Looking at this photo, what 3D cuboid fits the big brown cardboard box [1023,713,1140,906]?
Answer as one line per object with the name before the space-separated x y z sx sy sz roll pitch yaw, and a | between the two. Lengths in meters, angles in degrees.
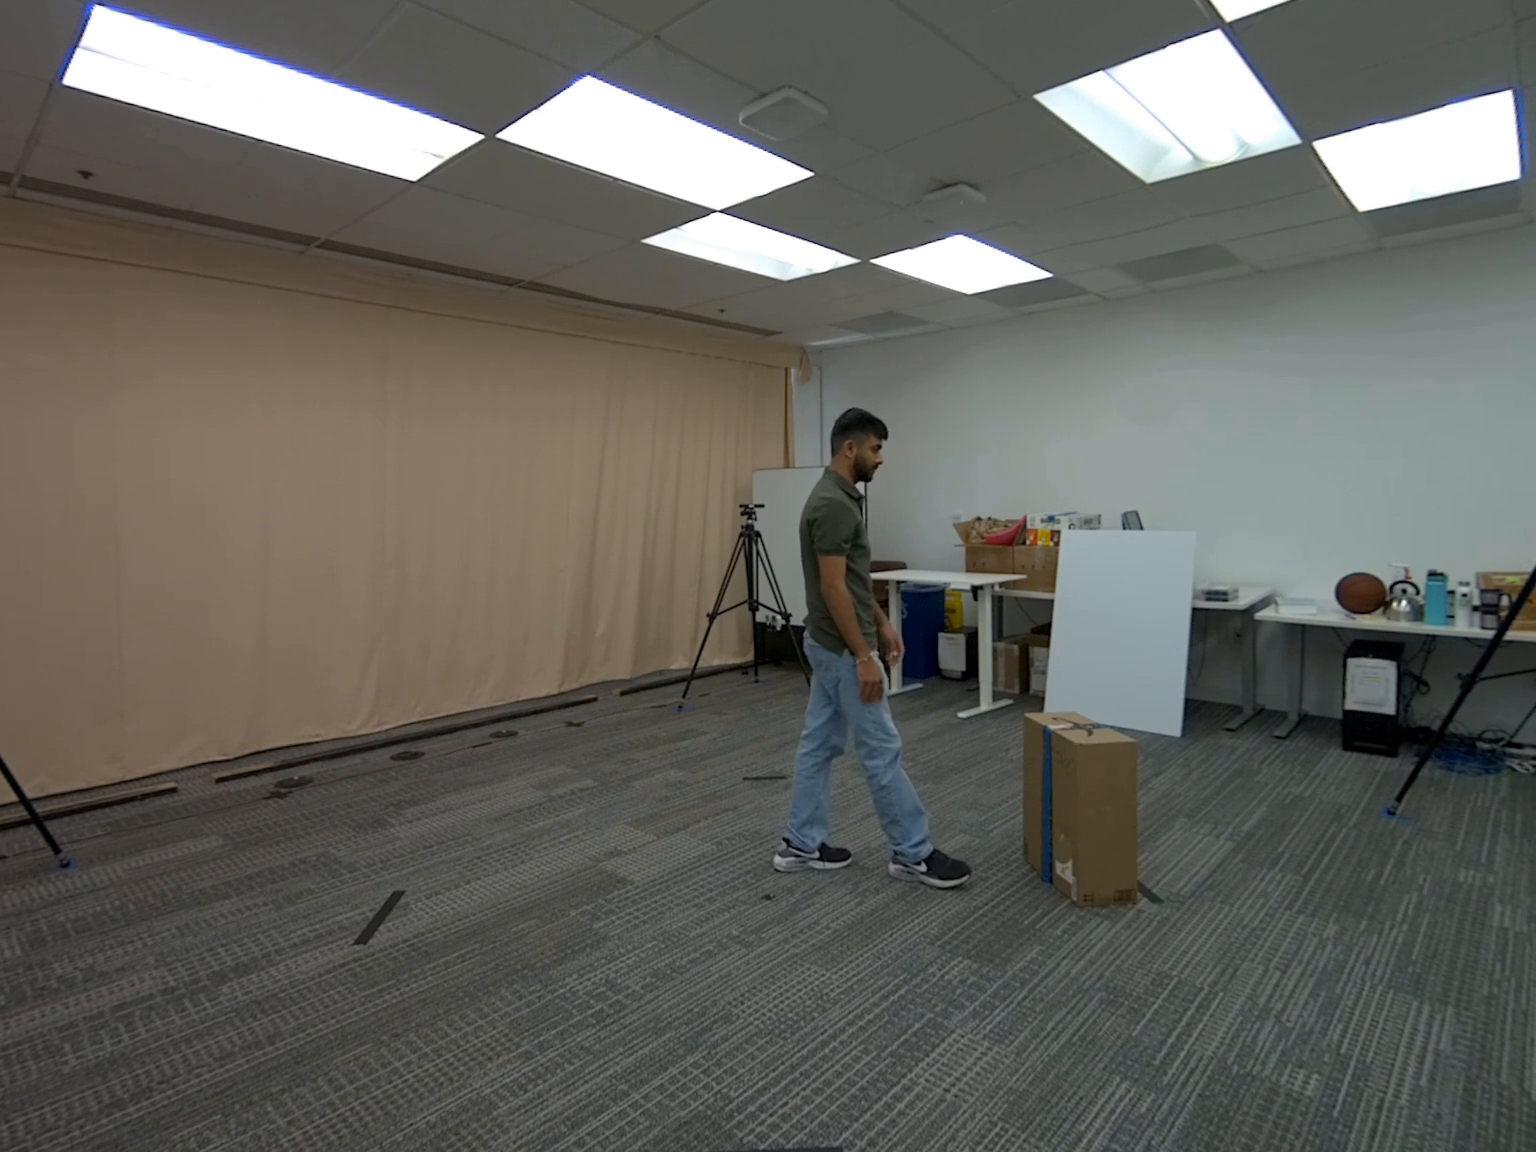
big brown cardboard box | 1.133 0.836 3.068 0.231 0.588 0.421 0 3 -8
